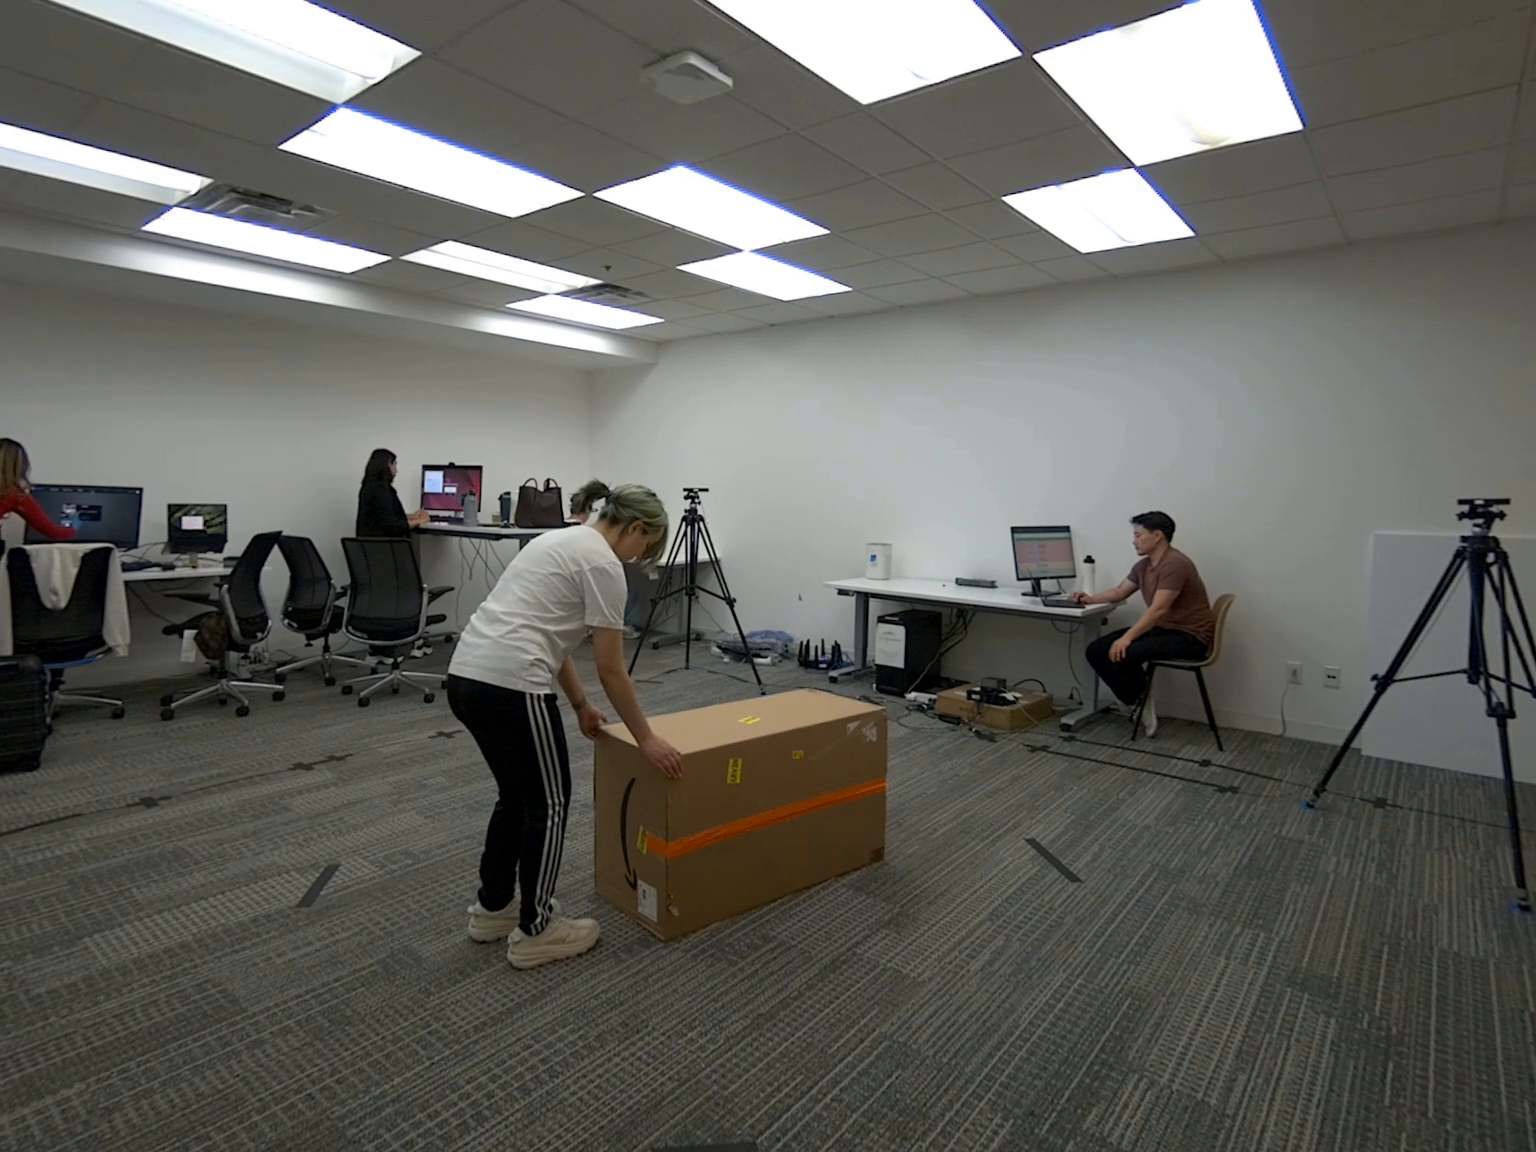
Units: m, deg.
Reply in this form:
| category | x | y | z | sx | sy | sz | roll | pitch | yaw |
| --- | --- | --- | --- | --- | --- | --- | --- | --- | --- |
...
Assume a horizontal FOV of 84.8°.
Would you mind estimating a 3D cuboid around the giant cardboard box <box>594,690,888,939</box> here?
| category | x | y | z | sx | sy | sz | roll | pitch | yaw |
| --- | --- | --- | --- | --- | --- | --- | --- | --- | --- |
| giant cardboard box | -0.079 | 0.791 | 3.057 | 0.996 | 0.582 | 0.462 | -3 | 6 | -40 |
